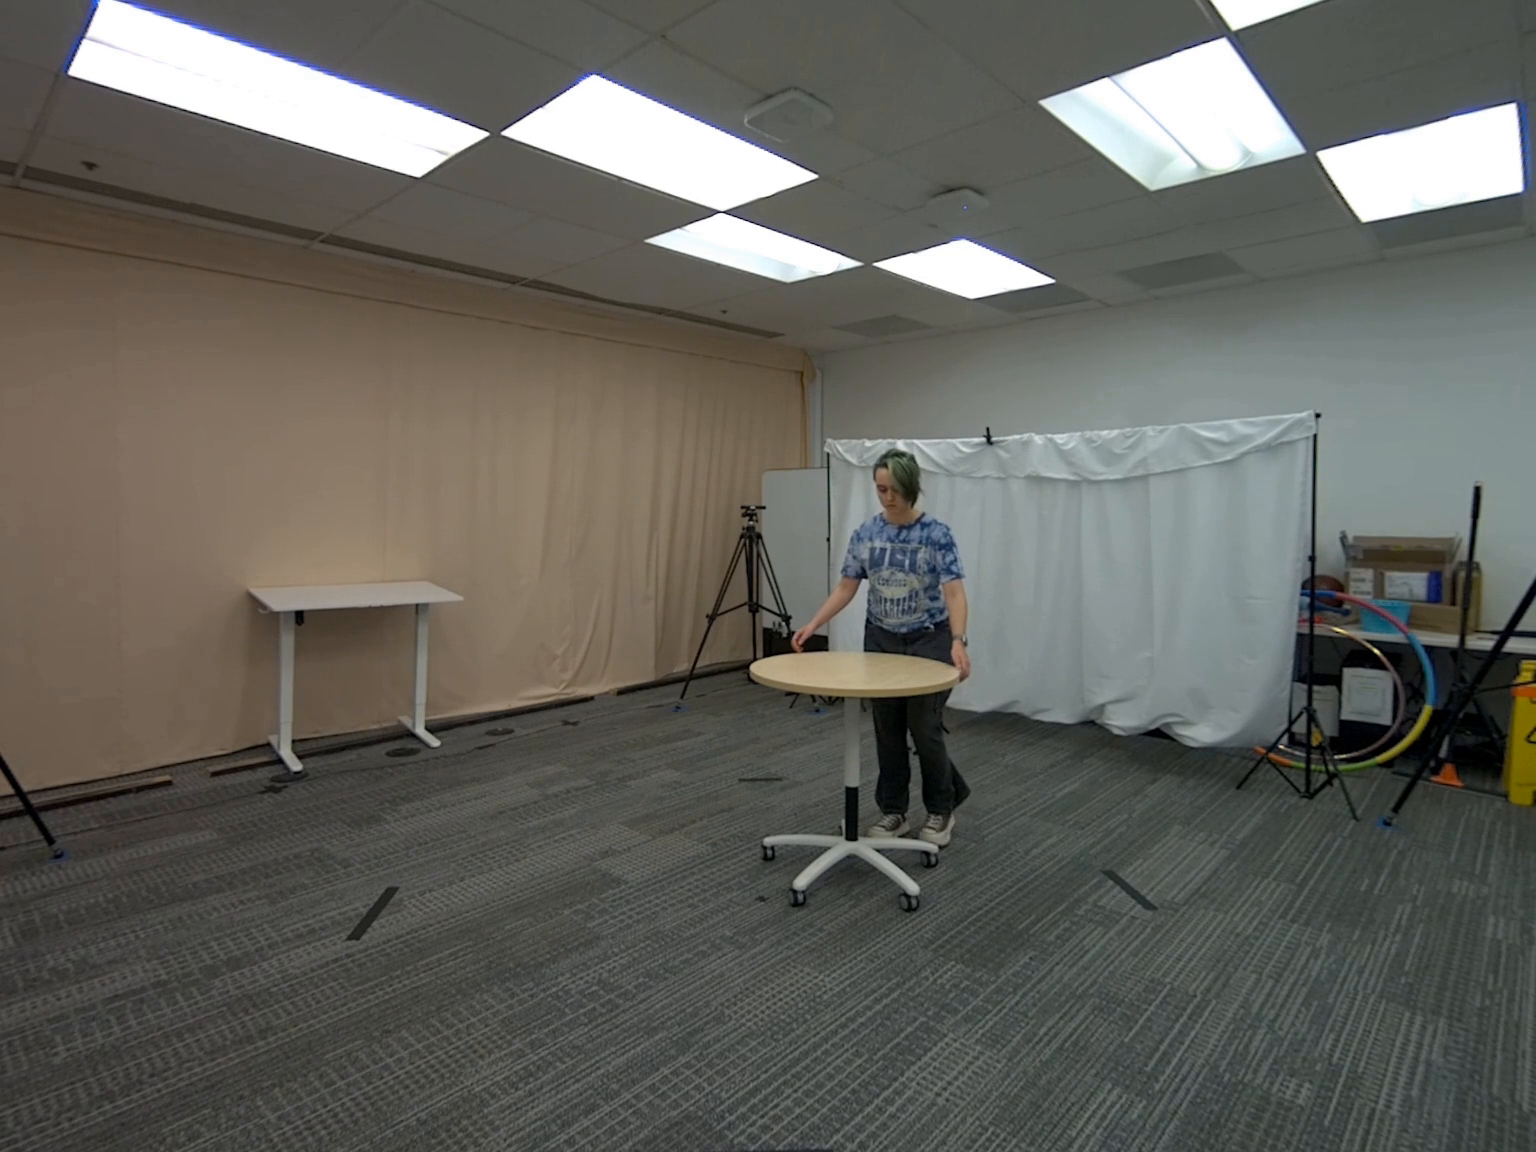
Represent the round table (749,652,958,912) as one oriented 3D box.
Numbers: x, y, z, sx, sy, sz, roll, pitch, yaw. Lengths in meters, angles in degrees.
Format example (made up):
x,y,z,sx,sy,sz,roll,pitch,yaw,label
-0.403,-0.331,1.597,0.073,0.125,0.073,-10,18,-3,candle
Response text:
x,y,z,sx,sy,sz,roll,pitch,yaw,label
0.310,0.740,3.142,0.763,0.792,0.766,0,3,-2,round table
